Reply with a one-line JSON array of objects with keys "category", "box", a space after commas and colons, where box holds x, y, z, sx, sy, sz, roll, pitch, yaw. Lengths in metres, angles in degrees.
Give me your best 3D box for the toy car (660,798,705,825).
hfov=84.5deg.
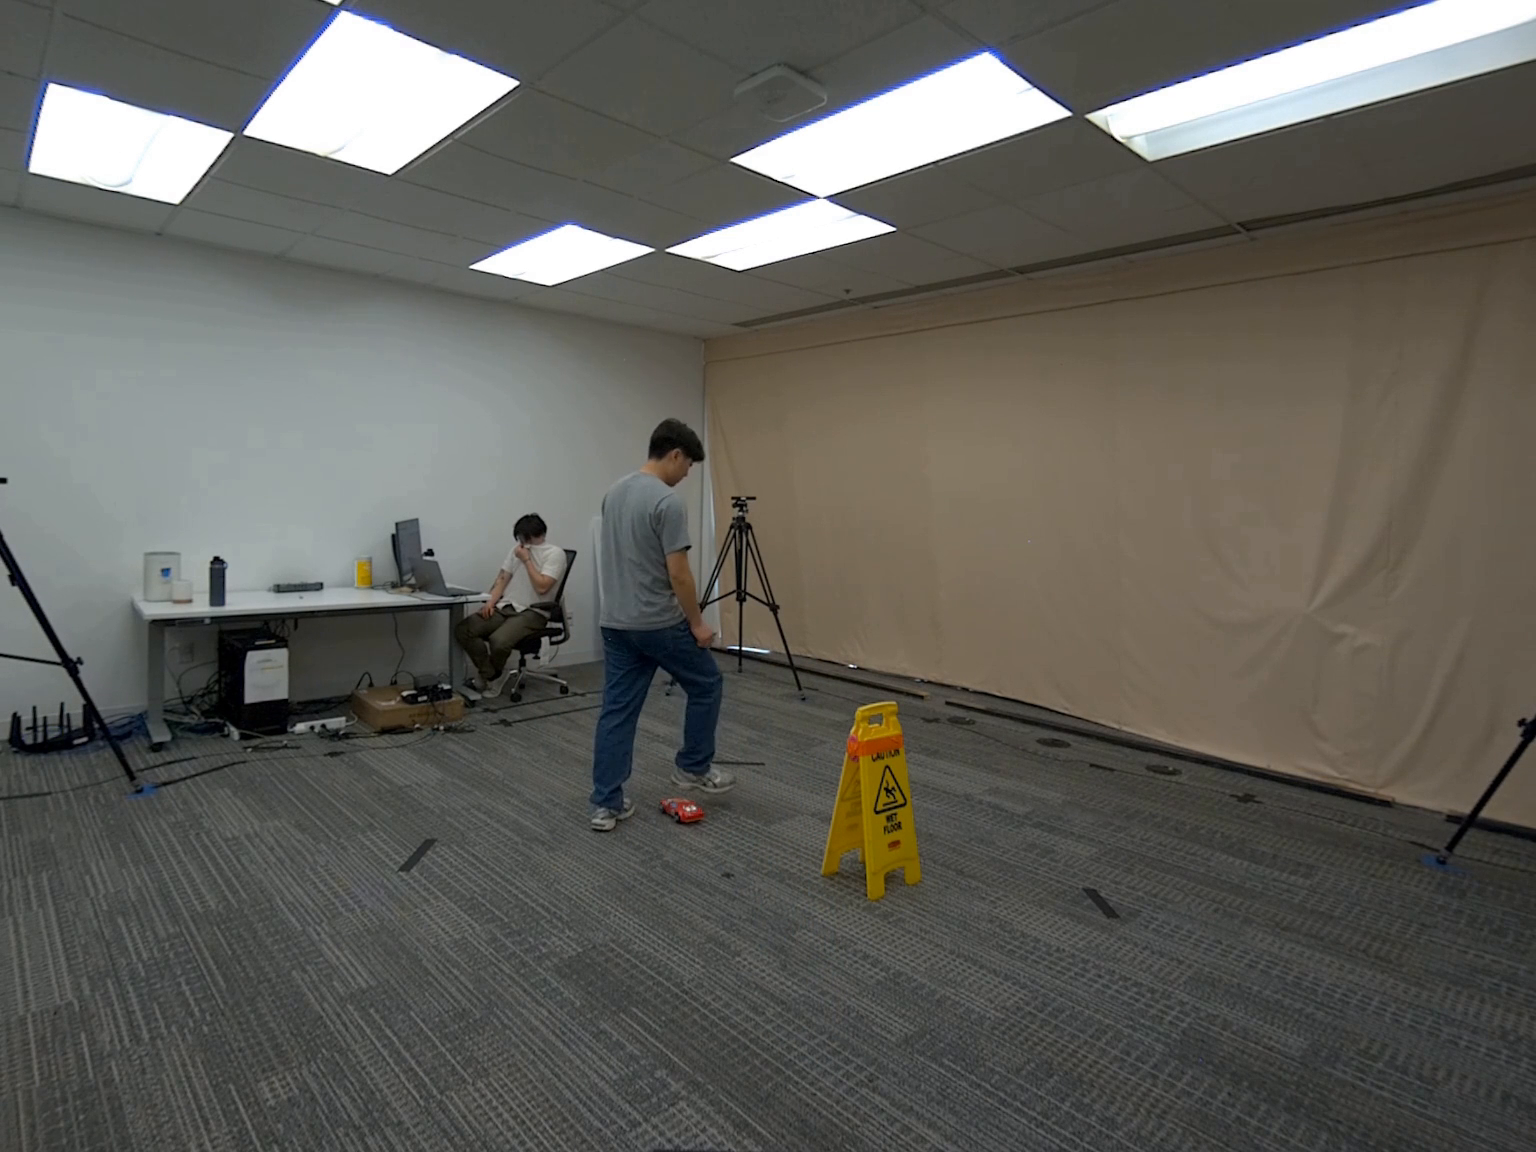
[{"category": "toy car", "box": [-0.382, 1.019, 3.660, 0.127, 0.083, 0.259, 0, -5, -33]}]
